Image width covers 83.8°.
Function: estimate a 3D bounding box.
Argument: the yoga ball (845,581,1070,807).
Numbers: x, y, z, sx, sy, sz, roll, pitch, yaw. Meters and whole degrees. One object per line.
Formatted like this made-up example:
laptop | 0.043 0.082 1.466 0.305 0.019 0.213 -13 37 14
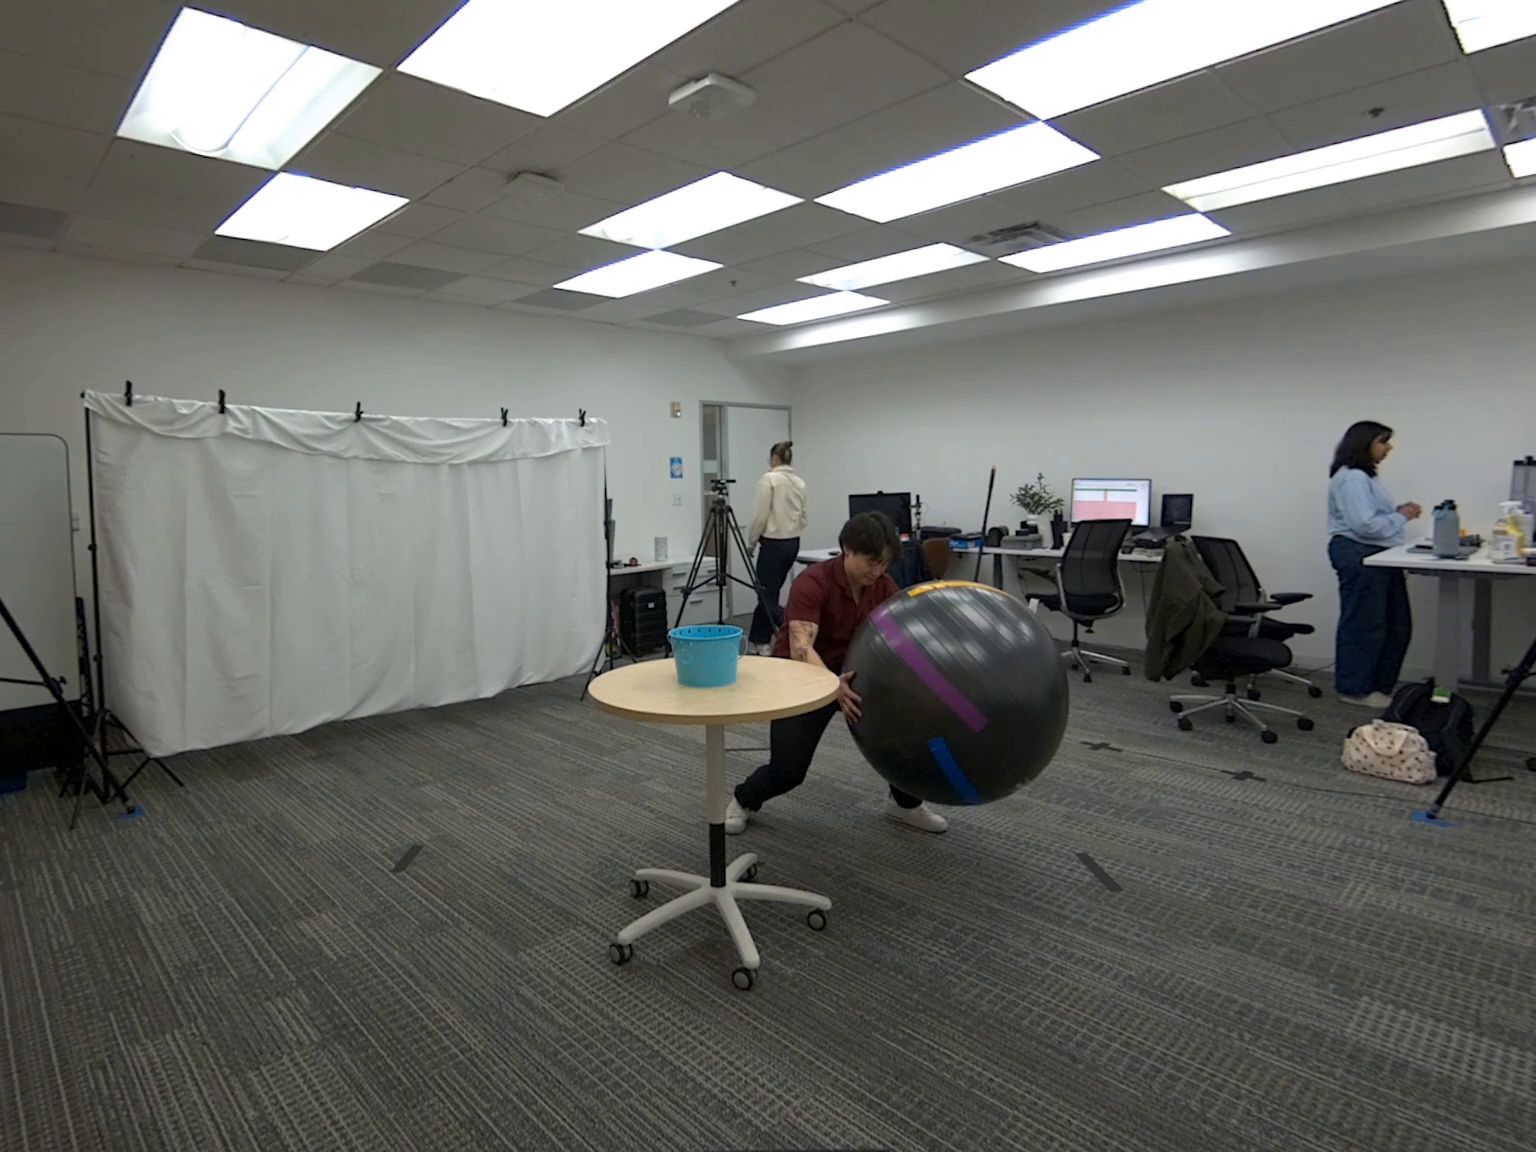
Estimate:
yoga ball | 0.653 0.405 2.936 0.757 0.755 0.762 -1 5 -2
